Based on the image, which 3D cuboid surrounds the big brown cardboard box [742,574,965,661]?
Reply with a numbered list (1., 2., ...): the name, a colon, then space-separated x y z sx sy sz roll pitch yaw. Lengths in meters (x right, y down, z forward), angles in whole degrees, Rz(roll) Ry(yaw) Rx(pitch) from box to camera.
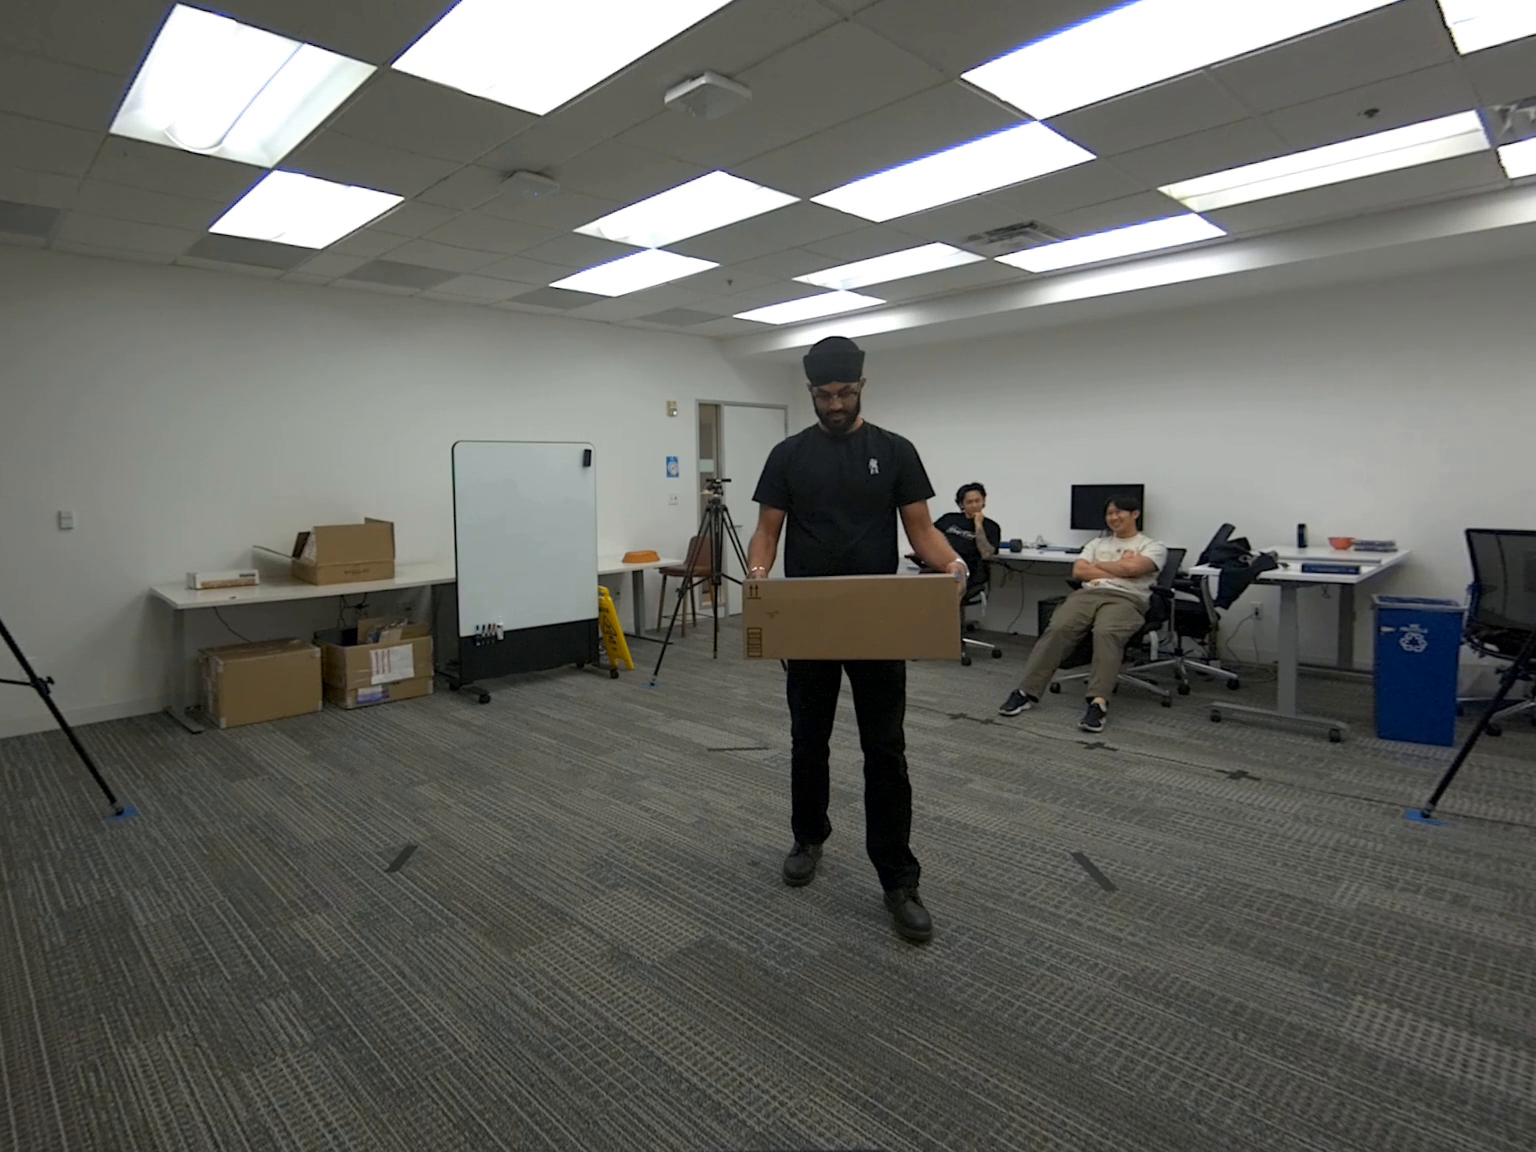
1. big brown cardboard box: 0.251 0.114 2.440 0.595 0.234 0.412 -2 -1 11
